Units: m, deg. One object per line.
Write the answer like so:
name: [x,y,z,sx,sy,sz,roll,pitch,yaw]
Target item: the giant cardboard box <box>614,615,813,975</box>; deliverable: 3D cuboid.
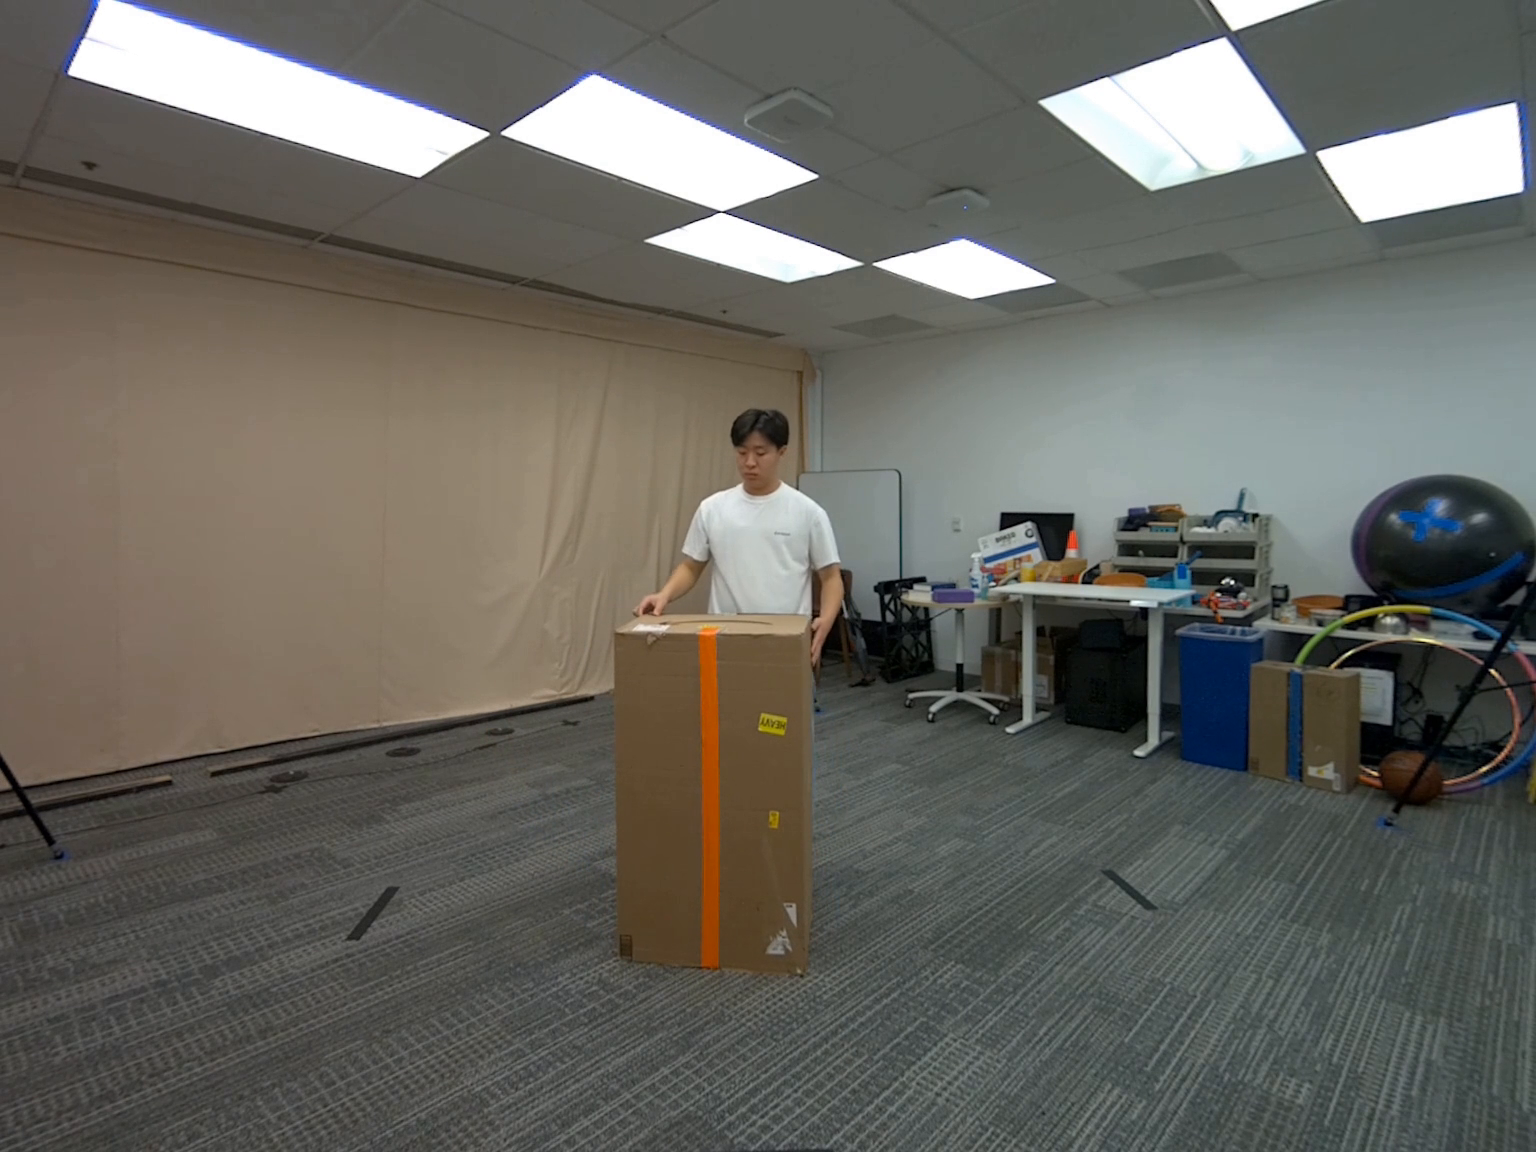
giant cardboard box: [-0.160,0.657,2.709,0.584,1.023,0.423,0,4,9]
